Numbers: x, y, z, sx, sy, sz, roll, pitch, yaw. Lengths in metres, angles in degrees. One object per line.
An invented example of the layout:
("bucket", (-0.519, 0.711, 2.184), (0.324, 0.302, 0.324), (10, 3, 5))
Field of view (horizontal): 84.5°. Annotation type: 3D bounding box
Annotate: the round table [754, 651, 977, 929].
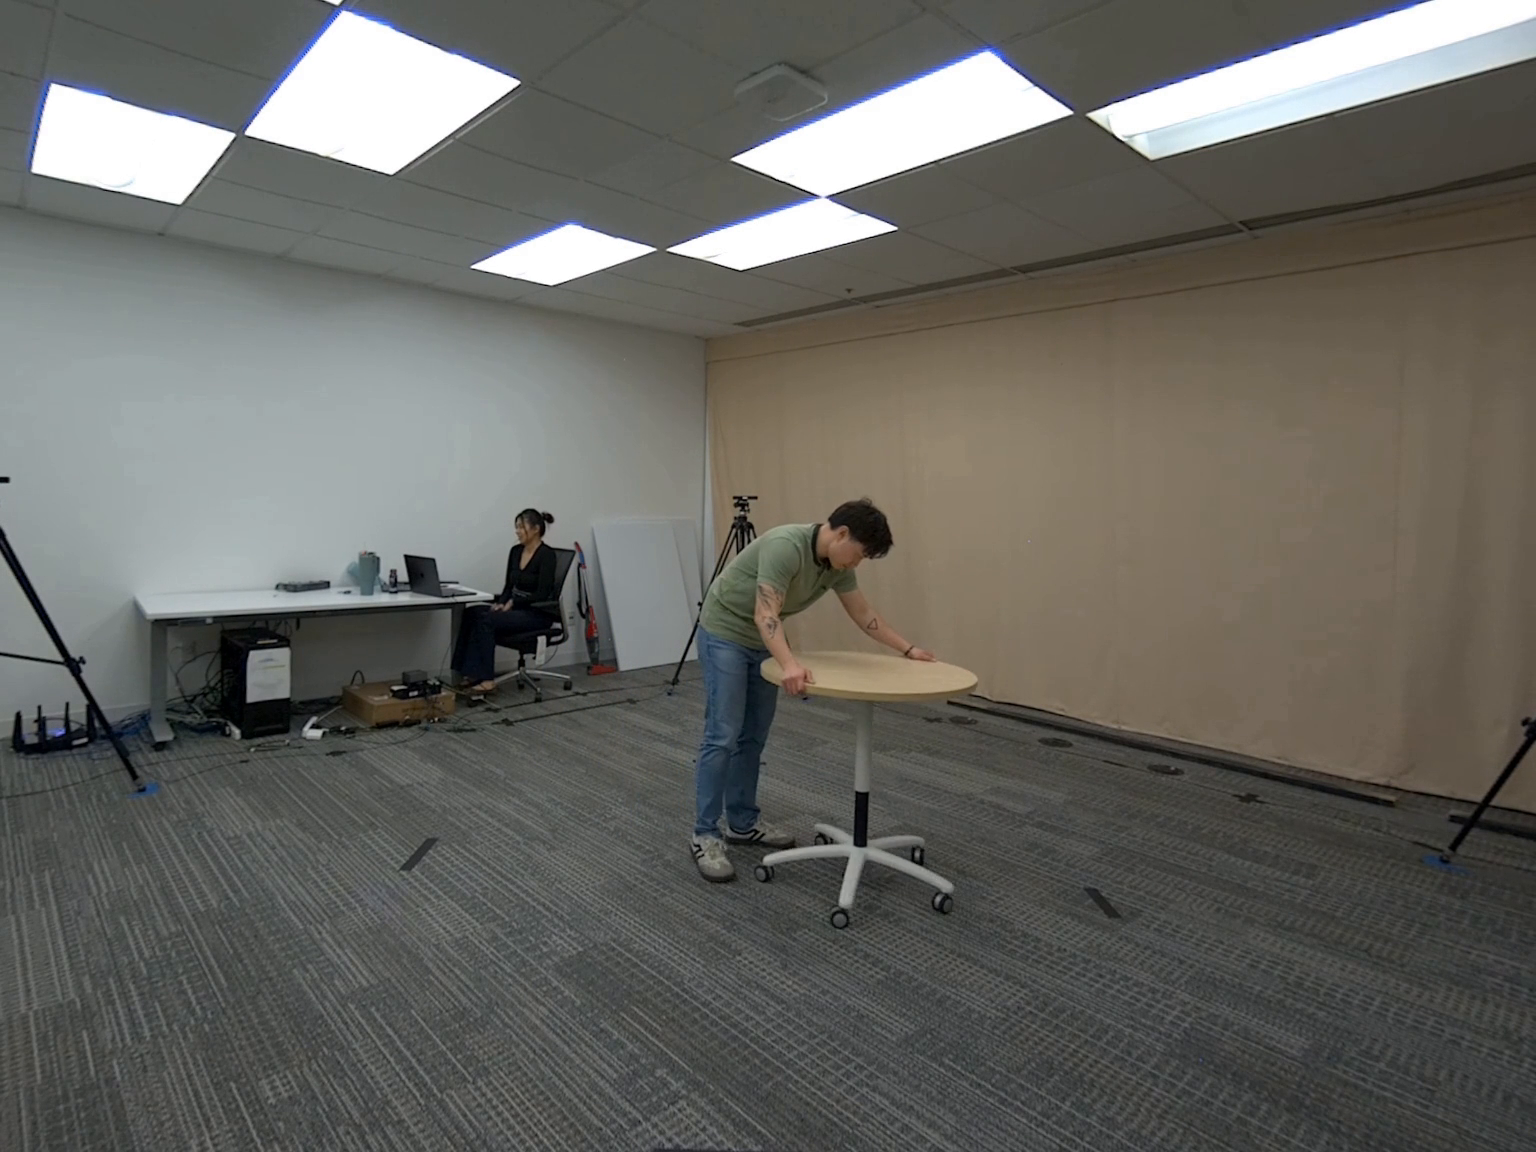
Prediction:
("round table", (0.332, 0.731, 3.039), (0.763, 0.792, 0.766), (2, 4, -2))
